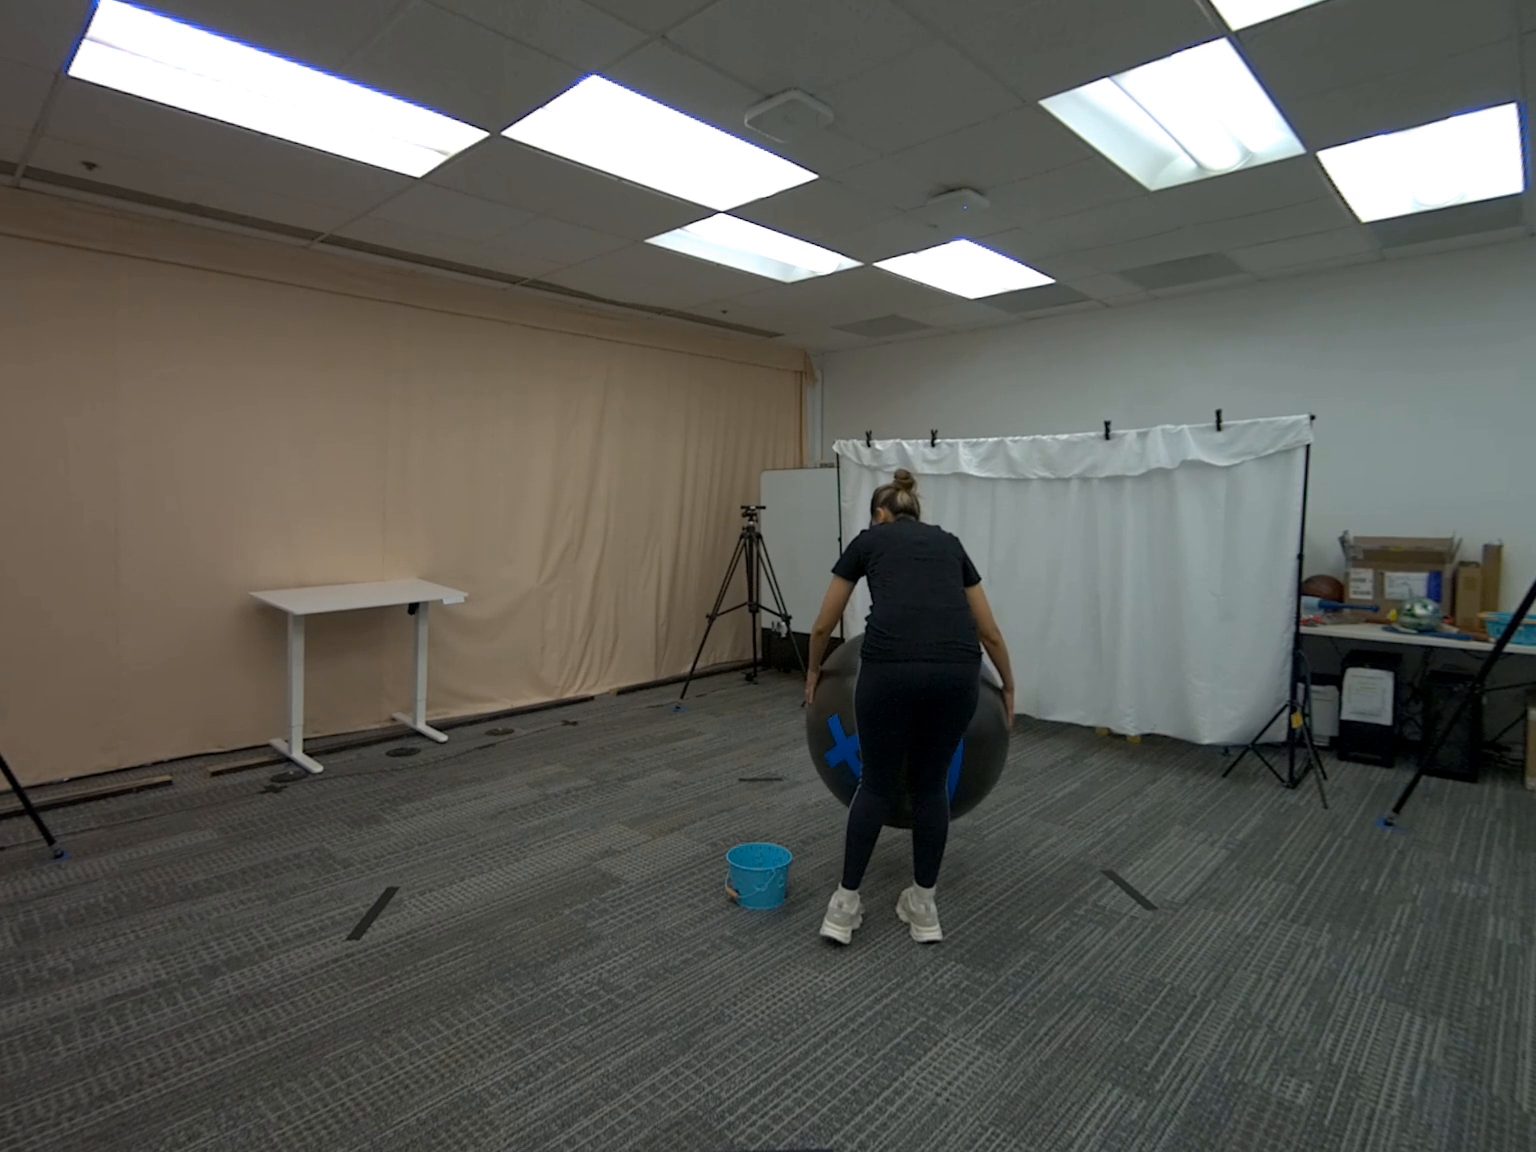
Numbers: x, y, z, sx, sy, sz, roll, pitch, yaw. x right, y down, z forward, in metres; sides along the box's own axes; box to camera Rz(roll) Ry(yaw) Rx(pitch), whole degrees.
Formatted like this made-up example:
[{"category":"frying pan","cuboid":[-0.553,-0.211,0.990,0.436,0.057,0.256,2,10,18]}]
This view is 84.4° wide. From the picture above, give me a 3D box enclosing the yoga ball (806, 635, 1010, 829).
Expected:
[{"category":"yoga ball","cuboid":[0.521,0.571,3.206,0.757,0.756,0.760,0,4,-2]}]
